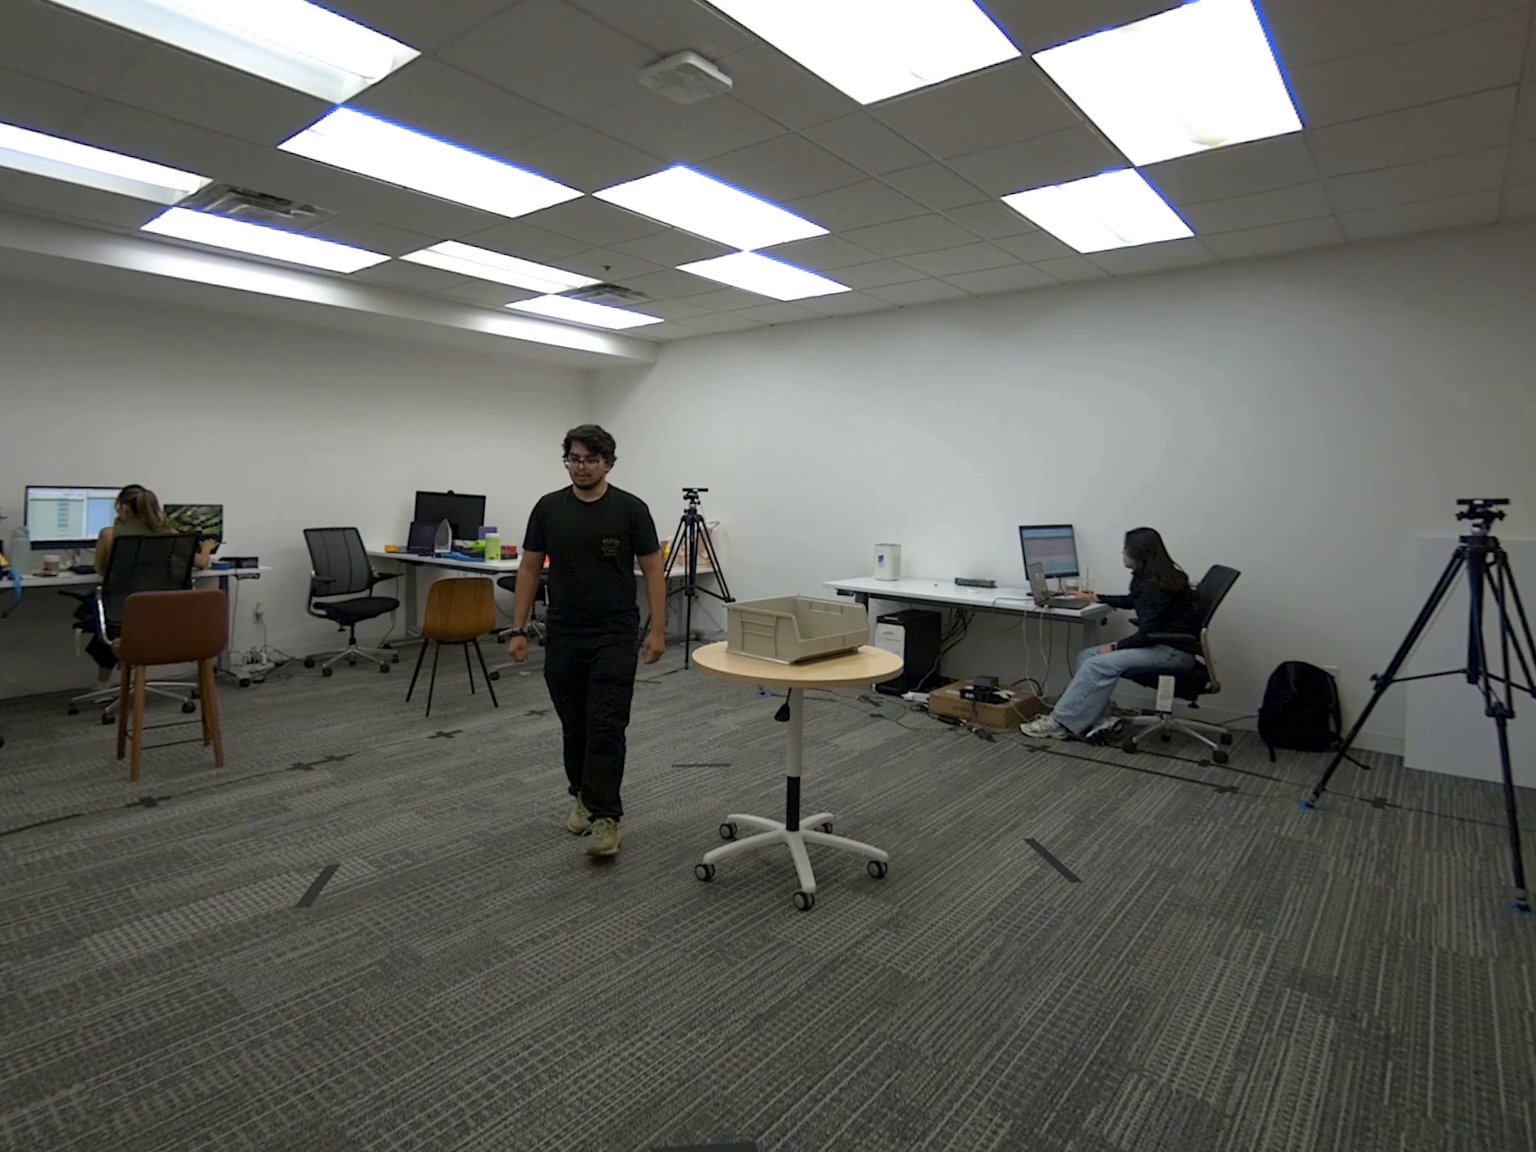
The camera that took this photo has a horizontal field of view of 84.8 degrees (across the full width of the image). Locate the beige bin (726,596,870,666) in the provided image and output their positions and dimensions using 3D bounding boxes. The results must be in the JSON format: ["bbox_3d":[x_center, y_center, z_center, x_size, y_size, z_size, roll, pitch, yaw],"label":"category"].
[{"bbox_3d":[0.103,0.197,3.184,0.390,0.188,0.410,5,7,44],"label":"beige bin"}]
